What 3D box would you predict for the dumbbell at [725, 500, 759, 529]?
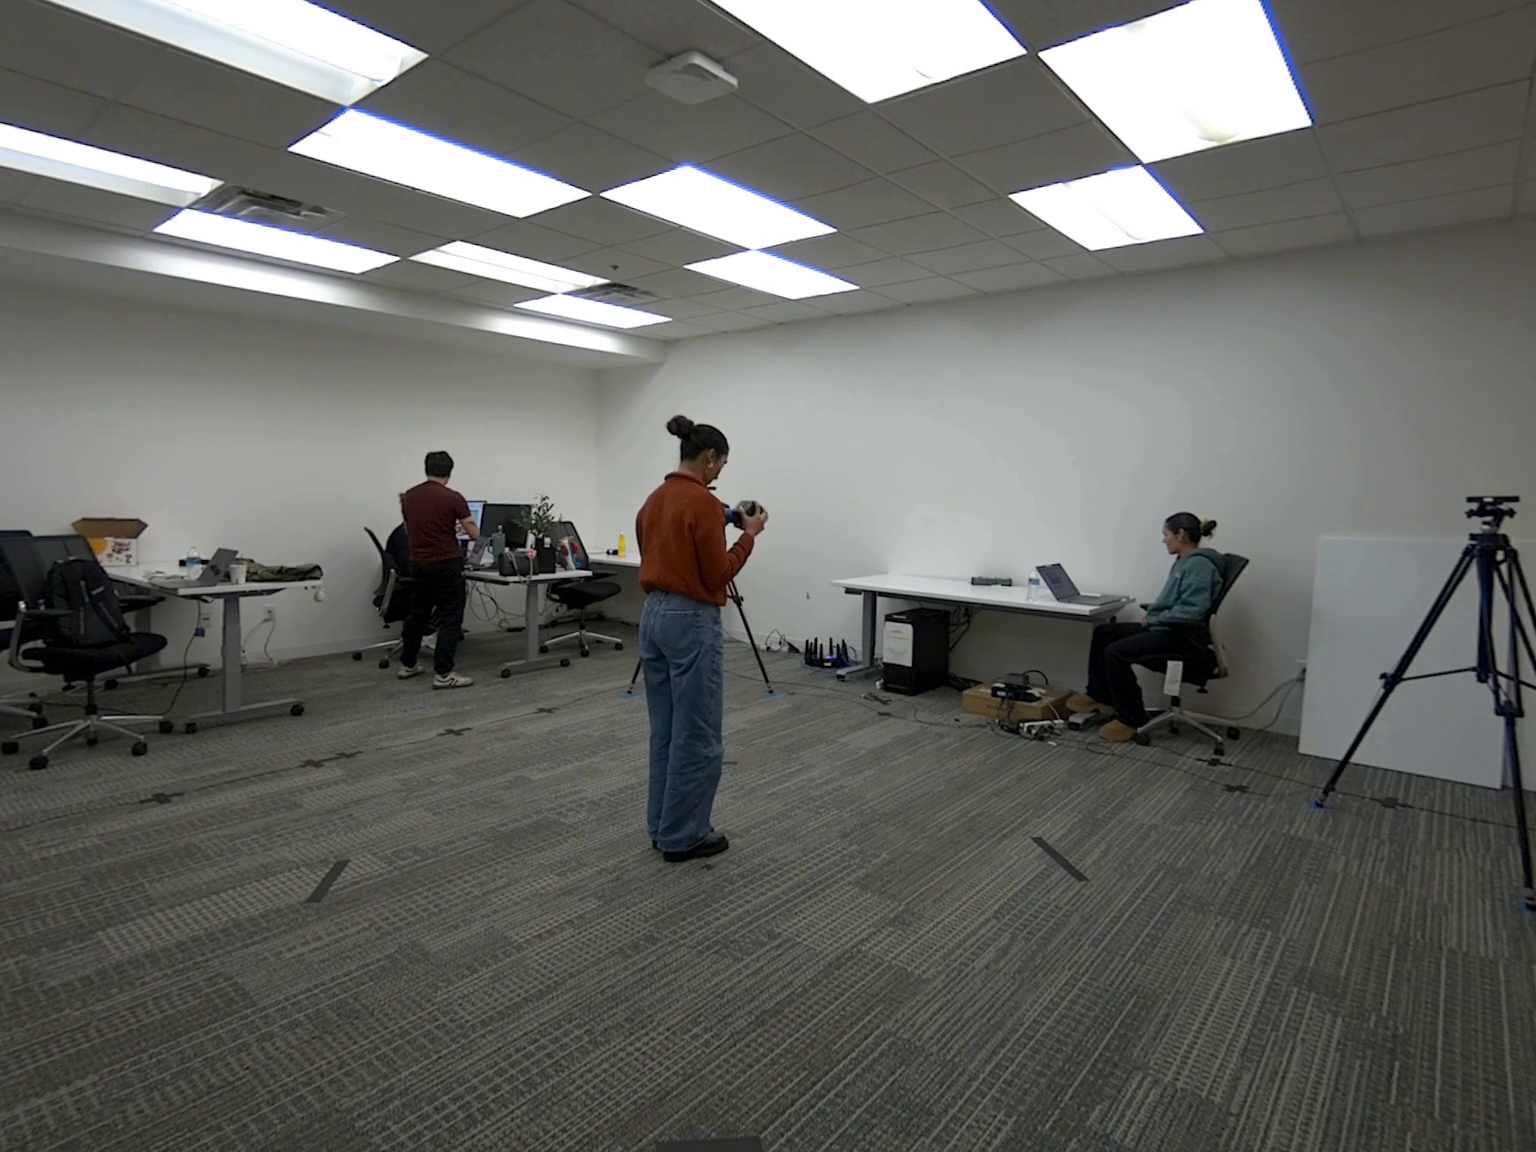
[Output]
[{"bbox_3d":[-0.161,-0.228,3.345,0.303,0.105,0.123,3,44,50],"label":"dumbbell"}]
